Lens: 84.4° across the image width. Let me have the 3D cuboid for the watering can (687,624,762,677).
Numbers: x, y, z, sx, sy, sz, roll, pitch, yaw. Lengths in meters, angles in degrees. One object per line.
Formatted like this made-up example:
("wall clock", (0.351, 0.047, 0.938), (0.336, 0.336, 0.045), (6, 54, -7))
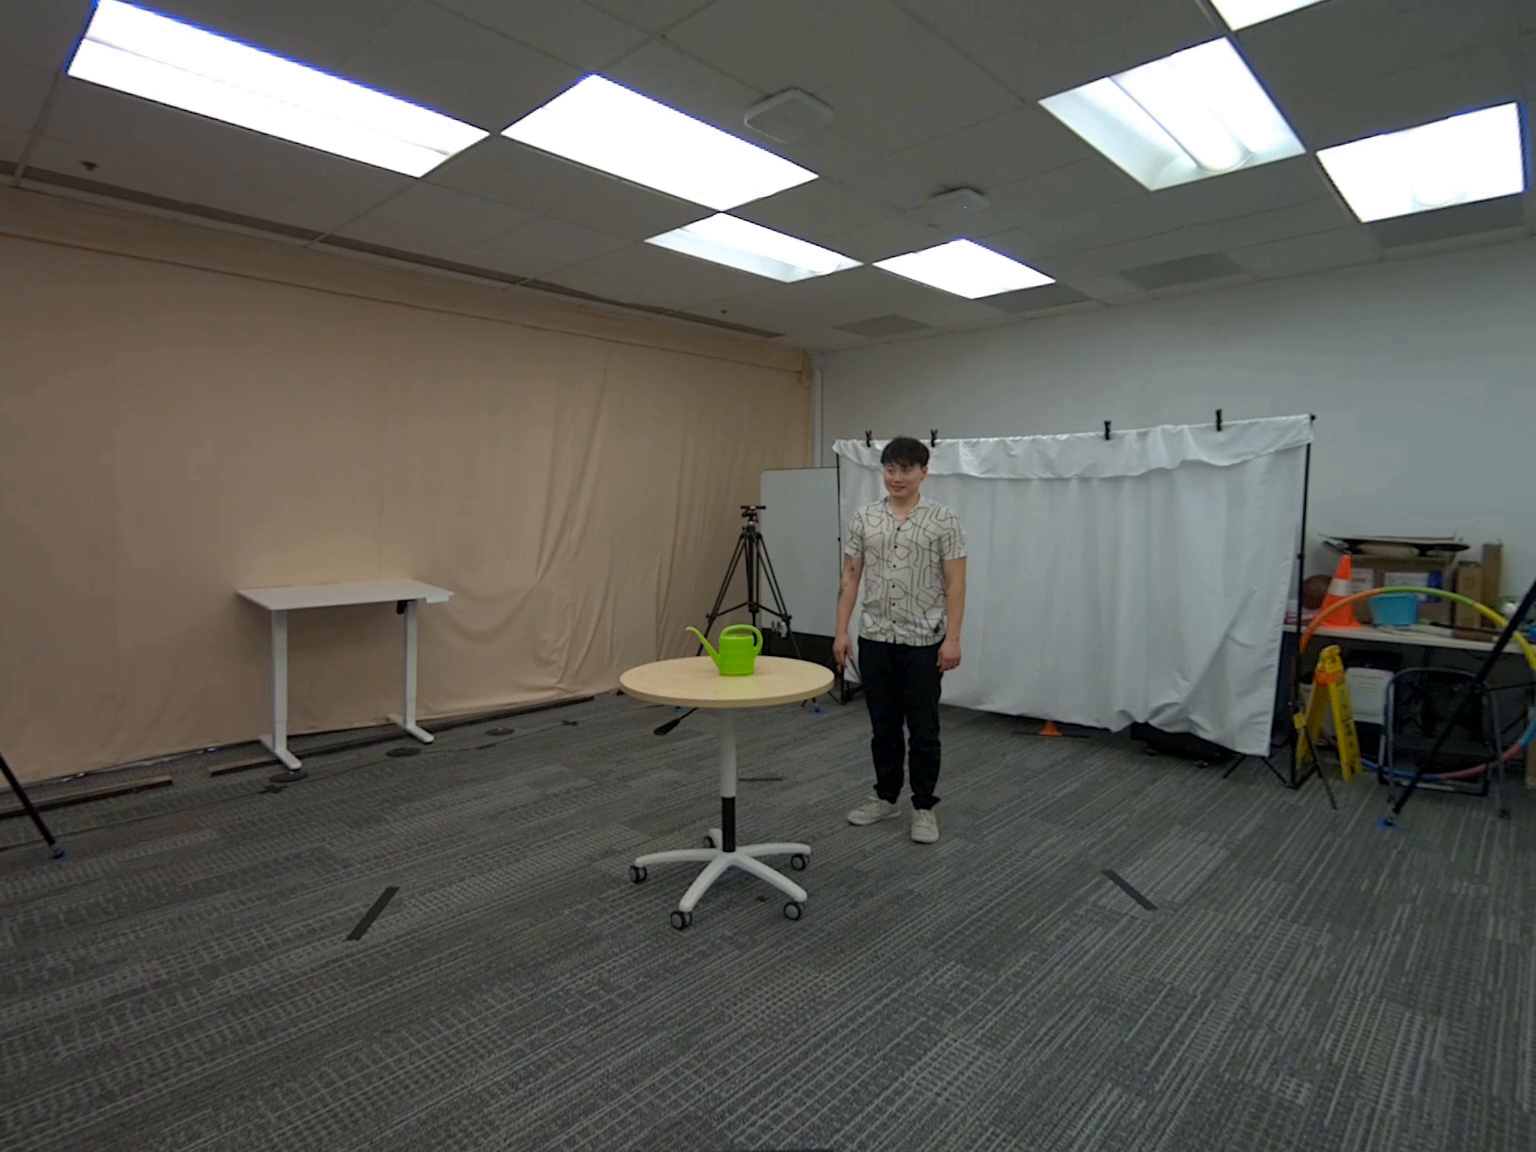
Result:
("watering can", (-0.153, 0.274, 3.050), (0.278, 0.177, 0.098), (-1, 0, 1))
